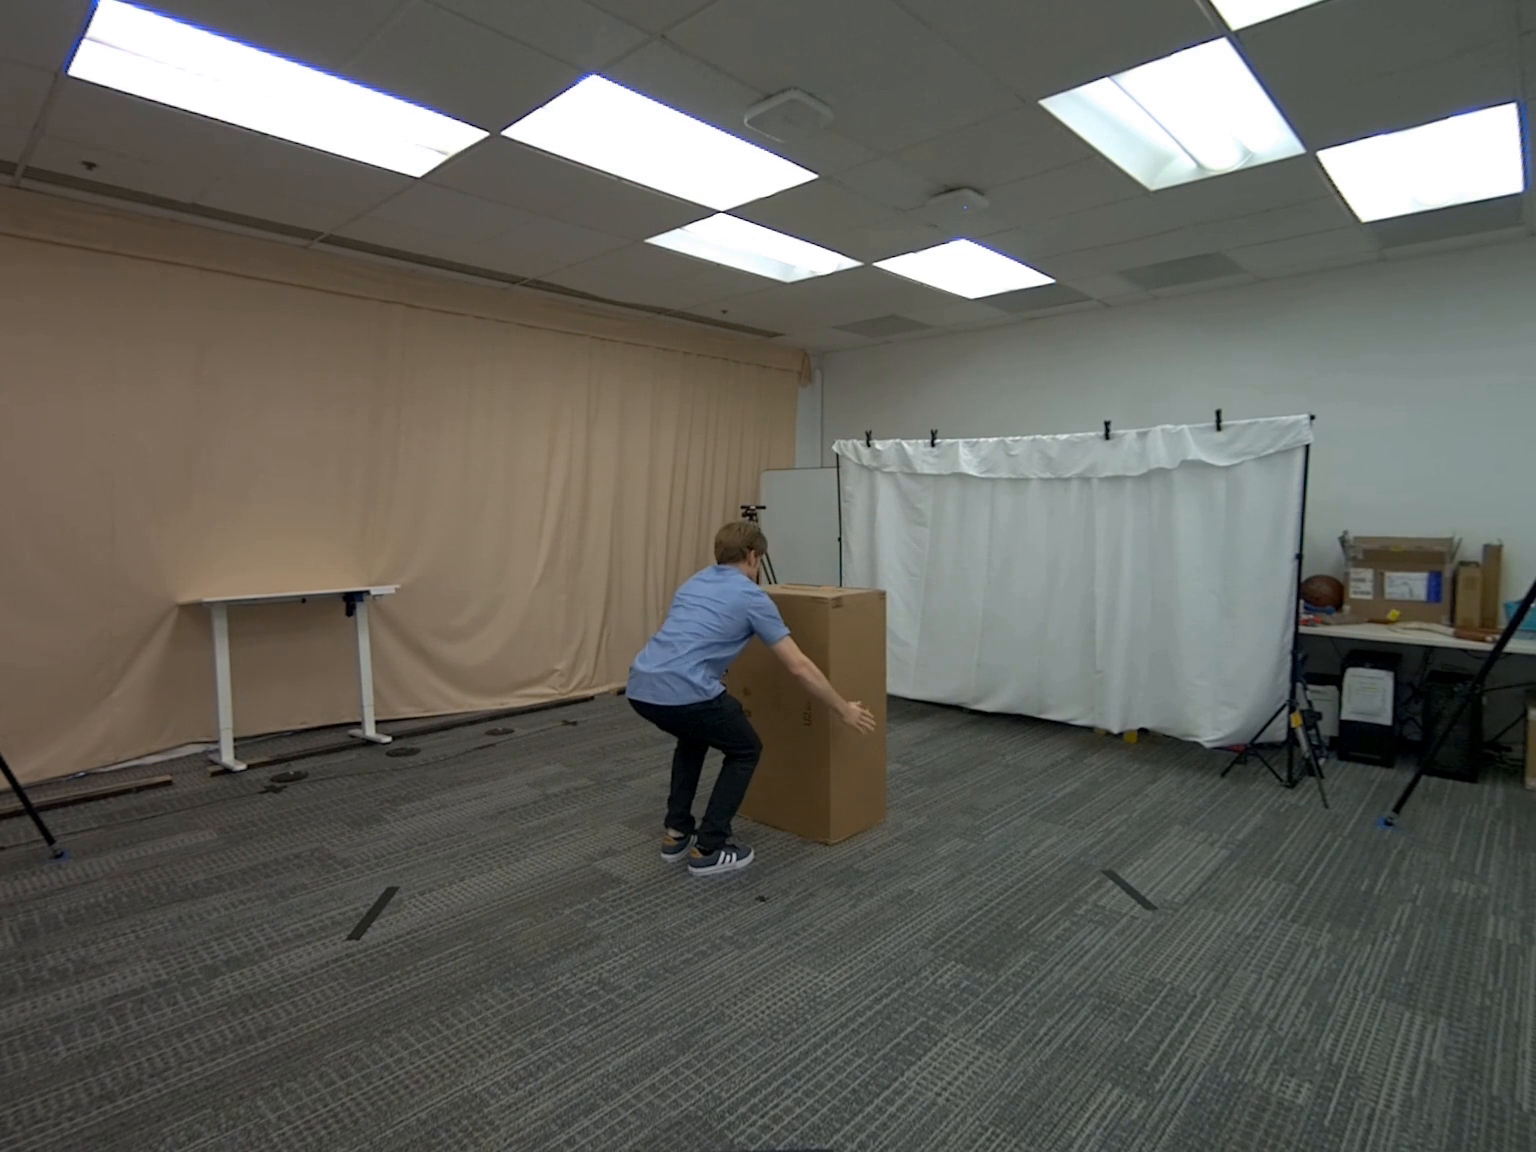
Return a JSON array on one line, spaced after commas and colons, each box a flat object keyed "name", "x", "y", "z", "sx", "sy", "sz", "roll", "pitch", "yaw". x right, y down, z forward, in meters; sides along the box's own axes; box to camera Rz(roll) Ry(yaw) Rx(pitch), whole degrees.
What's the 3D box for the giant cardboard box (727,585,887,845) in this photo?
[{"name": "giant cardboard box", "x": 0.174, "y": 0.571, "z": 3.773, "sx": 0.596, "sy": 1.024, "sz": 0.413, "roll": 2, "pitch": 3, "yaw": 43}]
